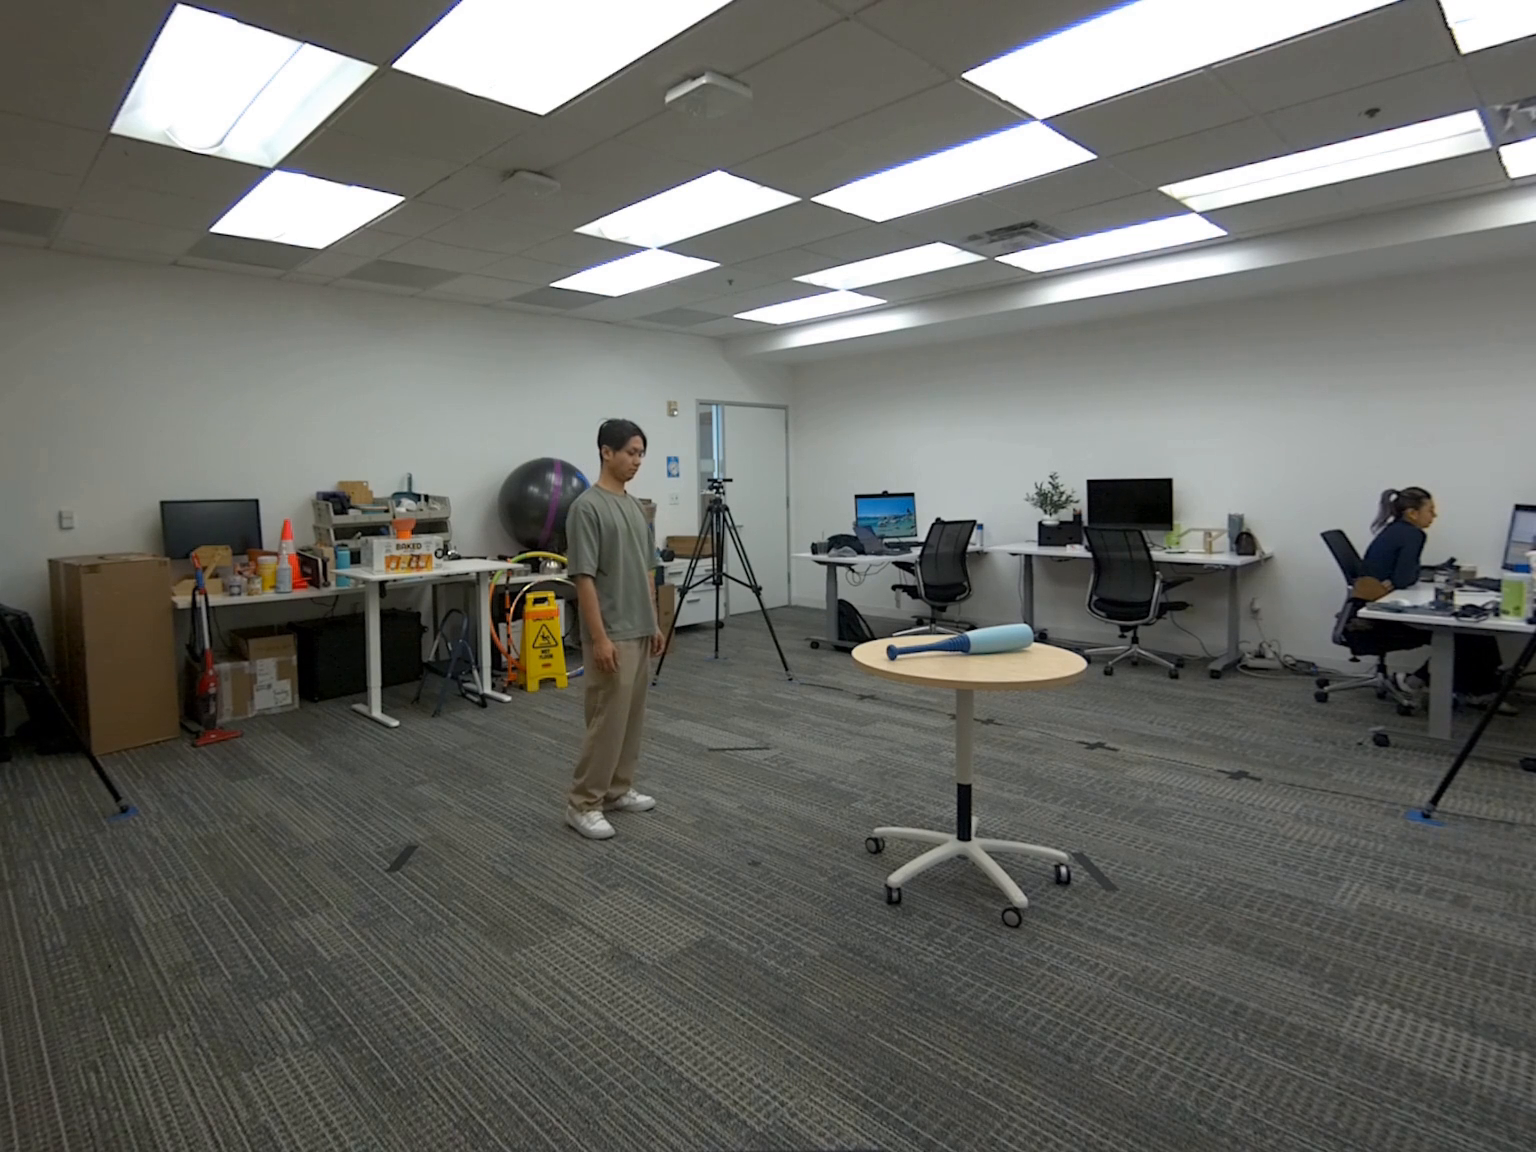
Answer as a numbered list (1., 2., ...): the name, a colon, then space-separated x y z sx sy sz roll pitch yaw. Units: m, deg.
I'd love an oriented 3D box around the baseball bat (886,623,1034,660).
1. baseball bat: 0.665 0.234 2.922 0.535 0.088 0.091 -5 6 -16
